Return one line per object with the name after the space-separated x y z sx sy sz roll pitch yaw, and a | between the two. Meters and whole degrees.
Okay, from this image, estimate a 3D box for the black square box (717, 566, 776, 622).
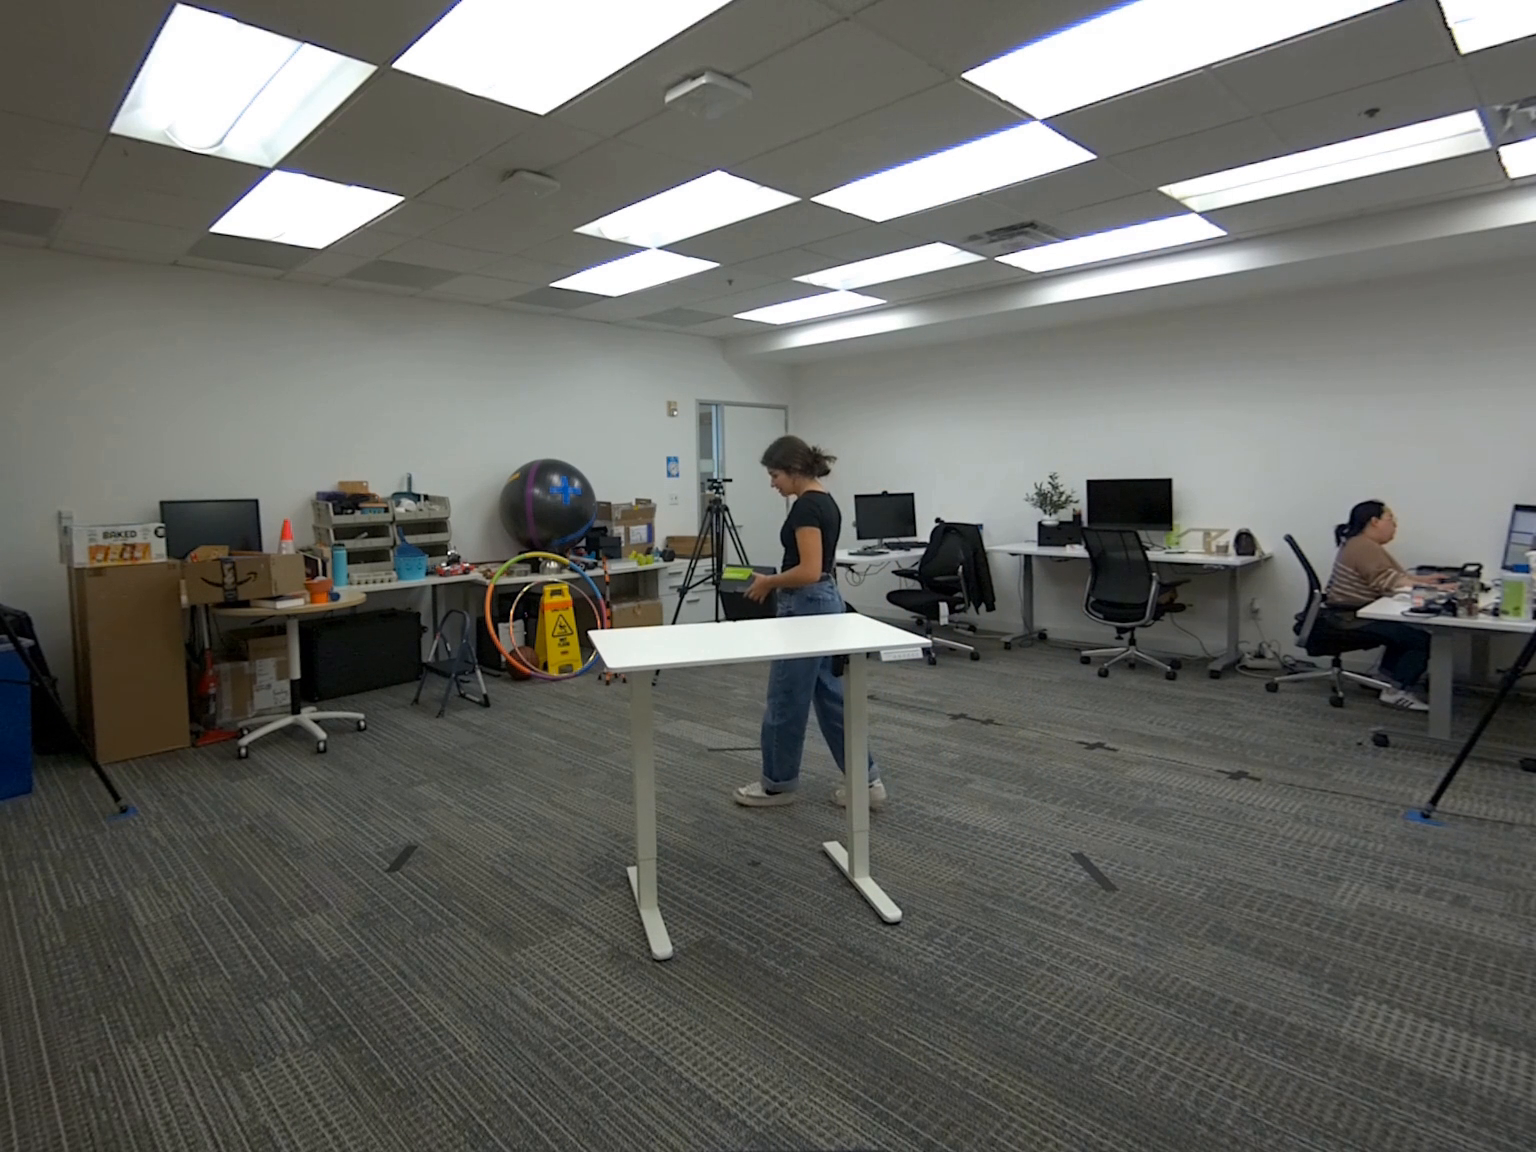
-0.078 0.074 3.755 0.231 0.158 0.210 5 -40 14 | black square box
